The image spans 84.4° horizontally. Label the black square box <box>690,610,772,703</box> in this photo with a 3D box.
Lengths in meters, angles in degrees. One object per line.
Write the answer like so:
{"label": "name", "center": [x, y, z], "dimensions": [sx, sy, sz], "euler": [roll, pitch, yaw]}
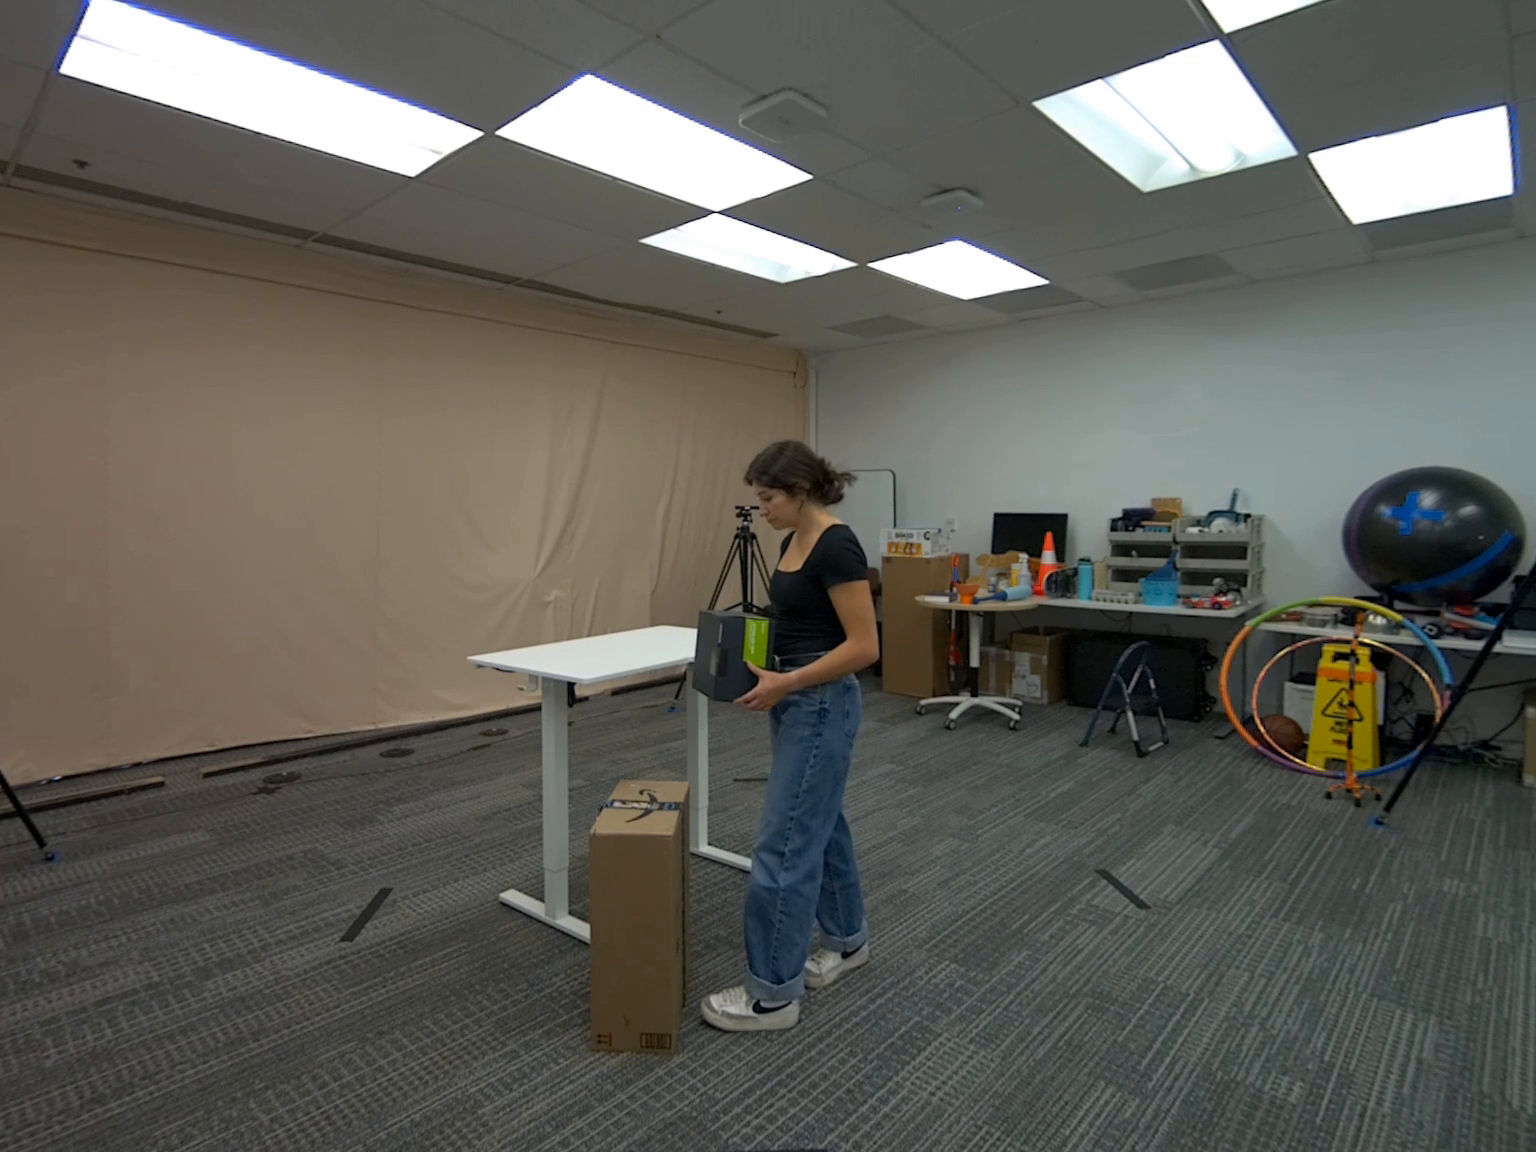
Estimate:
{"label": "black square box", "center": [-0.087, 0.218, 2.335], "dimensions": [0.153, 0.228, 0.220], "euler": [5, 0, -14]}
